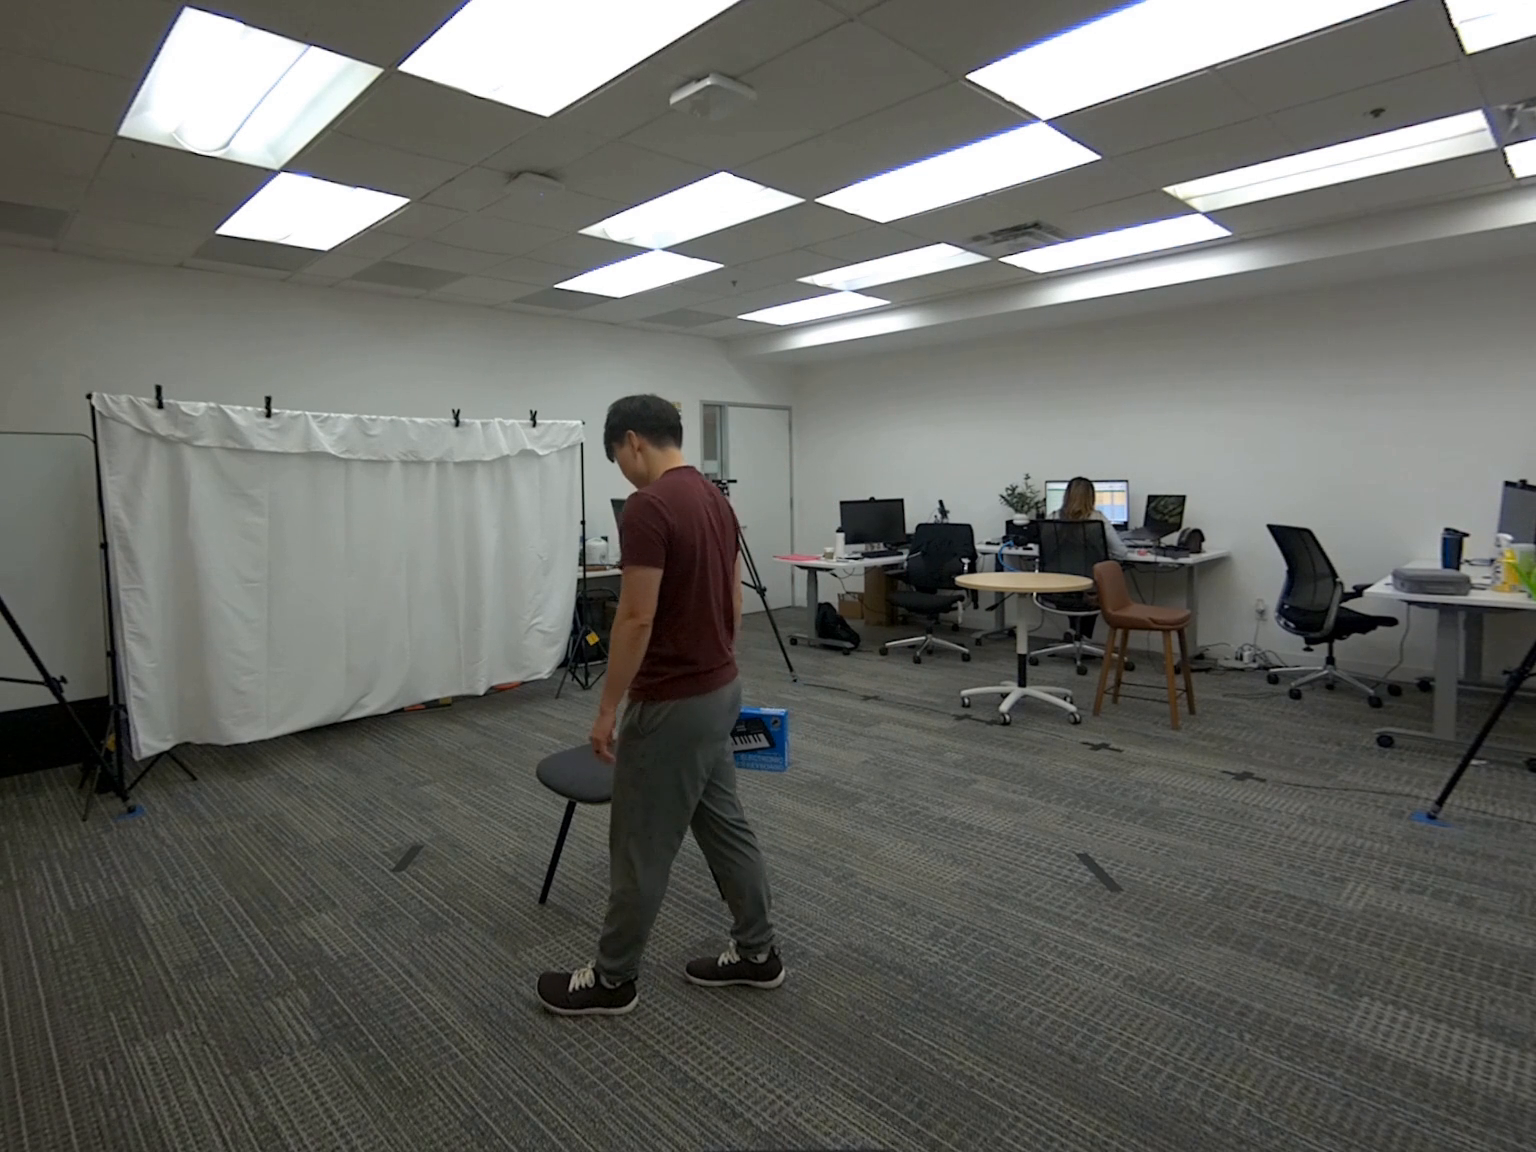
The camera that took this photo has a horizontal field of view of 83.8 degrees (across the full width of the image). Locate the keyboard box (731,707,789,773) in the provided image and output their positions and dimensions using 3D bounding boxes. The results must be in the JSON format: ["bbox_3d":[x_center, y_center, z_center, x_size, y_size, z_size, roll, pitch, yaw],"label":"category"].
[{"bbox_3d":[-0.155,0.478,2.569,0.442,0.175,0.058,0,4,12],"label":"keyboard box"}]
